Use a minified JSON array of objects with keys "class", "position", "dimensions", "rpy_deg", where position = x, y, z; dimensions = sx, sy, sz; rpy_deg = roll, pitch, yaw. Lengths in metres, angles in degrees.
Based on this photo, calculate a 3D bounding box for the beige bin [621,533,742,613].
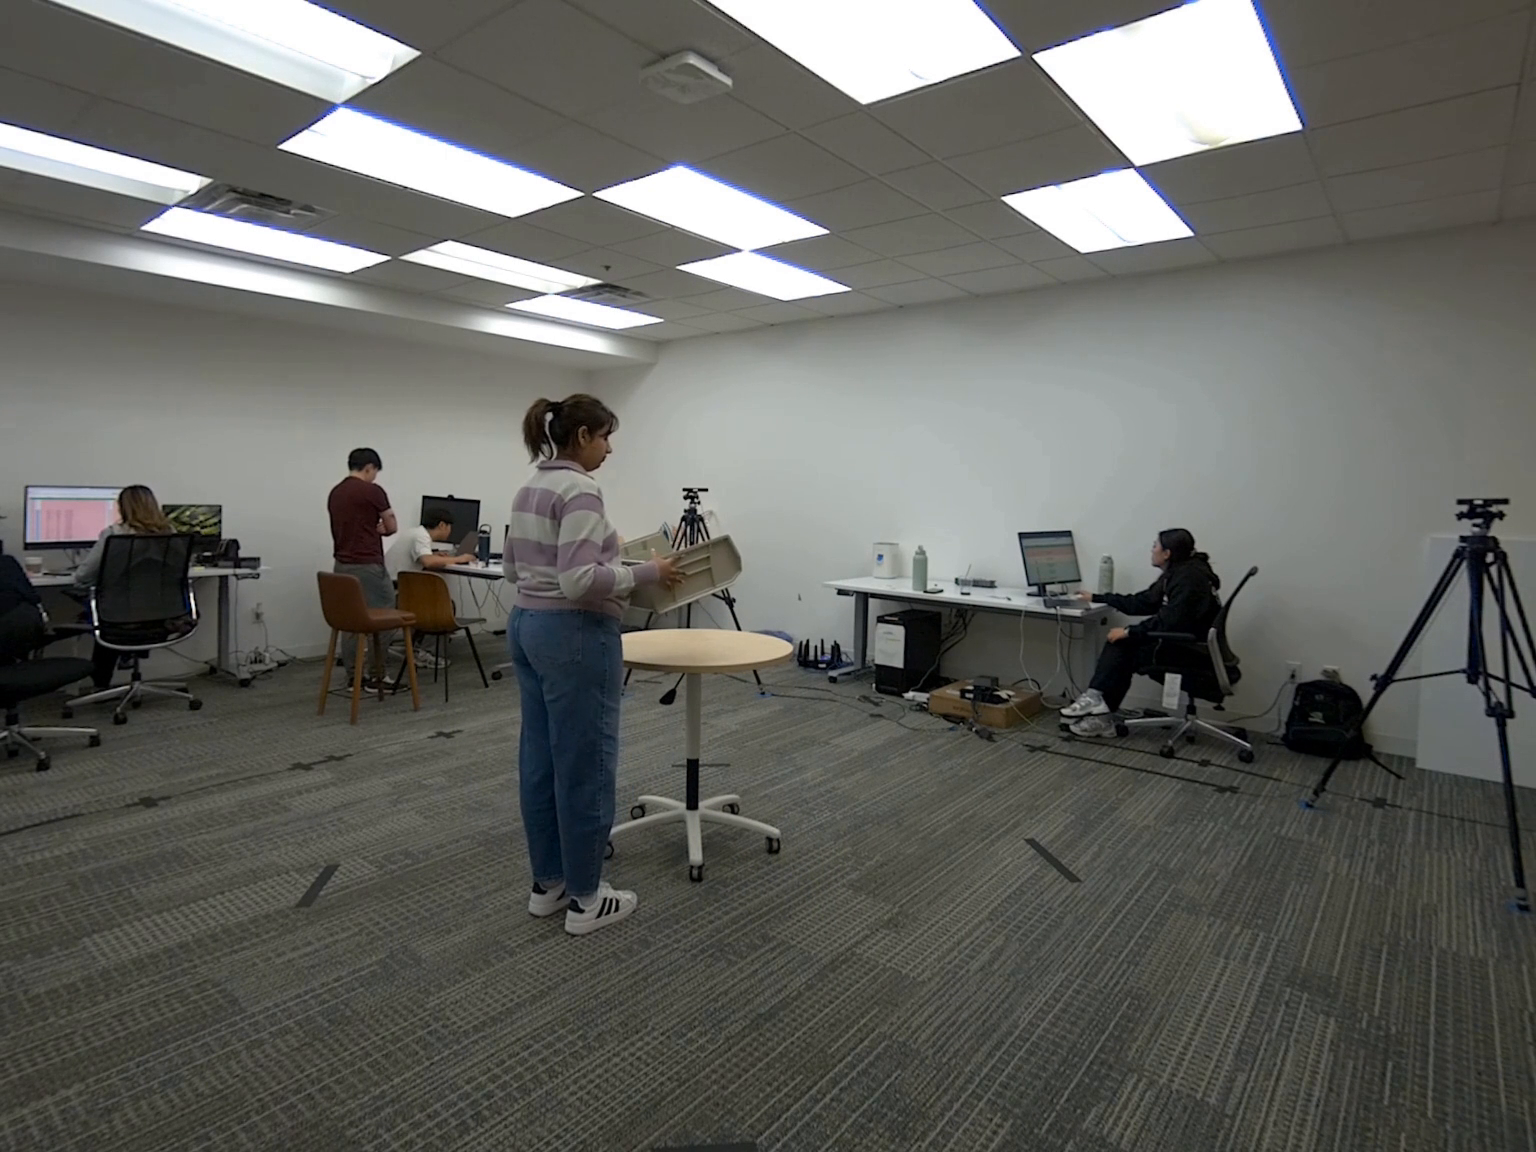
[{"class":"beige bin","position":[-0.375,-0.023,2.972],"dimensions":[0.370,0.186,0.436],"rpy_deg":[-22,18,-35]}]
